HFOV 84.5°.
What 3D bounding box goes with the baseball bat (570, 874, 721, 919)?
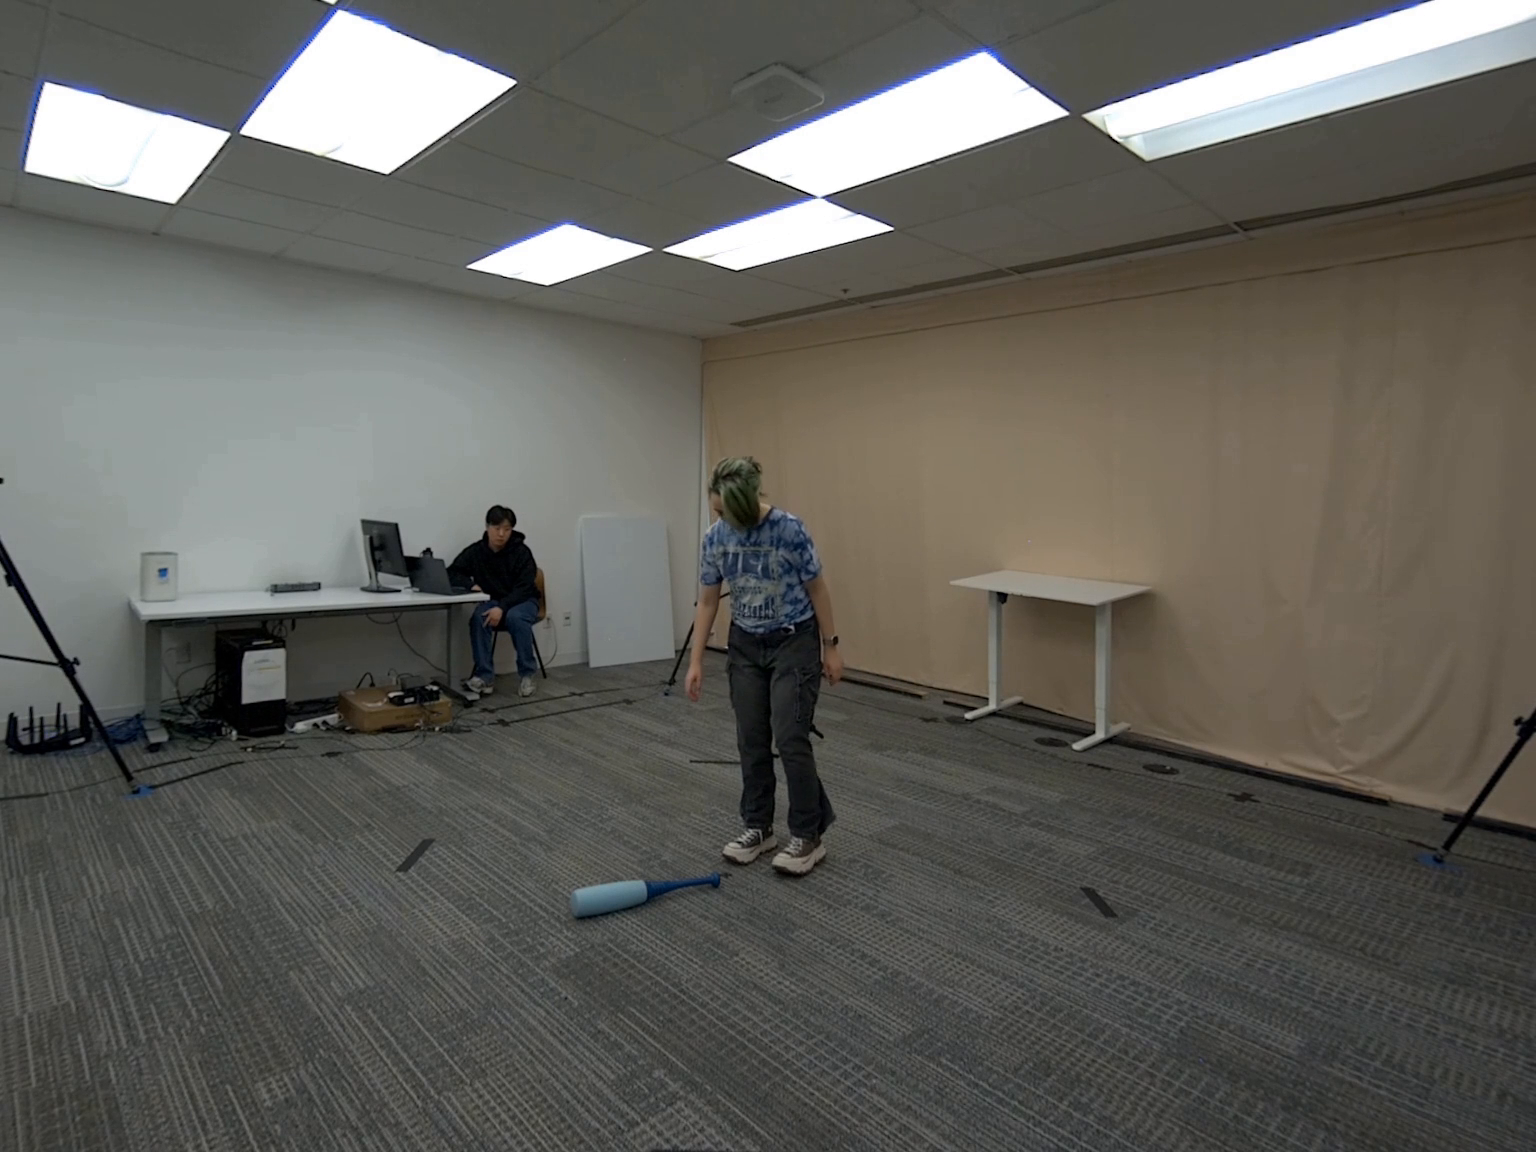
[{"bbox_3d":[-0.416,1.087,2.885,0.532,0.089,0.091,2,3,-29],"label":"baseball bat"}]
